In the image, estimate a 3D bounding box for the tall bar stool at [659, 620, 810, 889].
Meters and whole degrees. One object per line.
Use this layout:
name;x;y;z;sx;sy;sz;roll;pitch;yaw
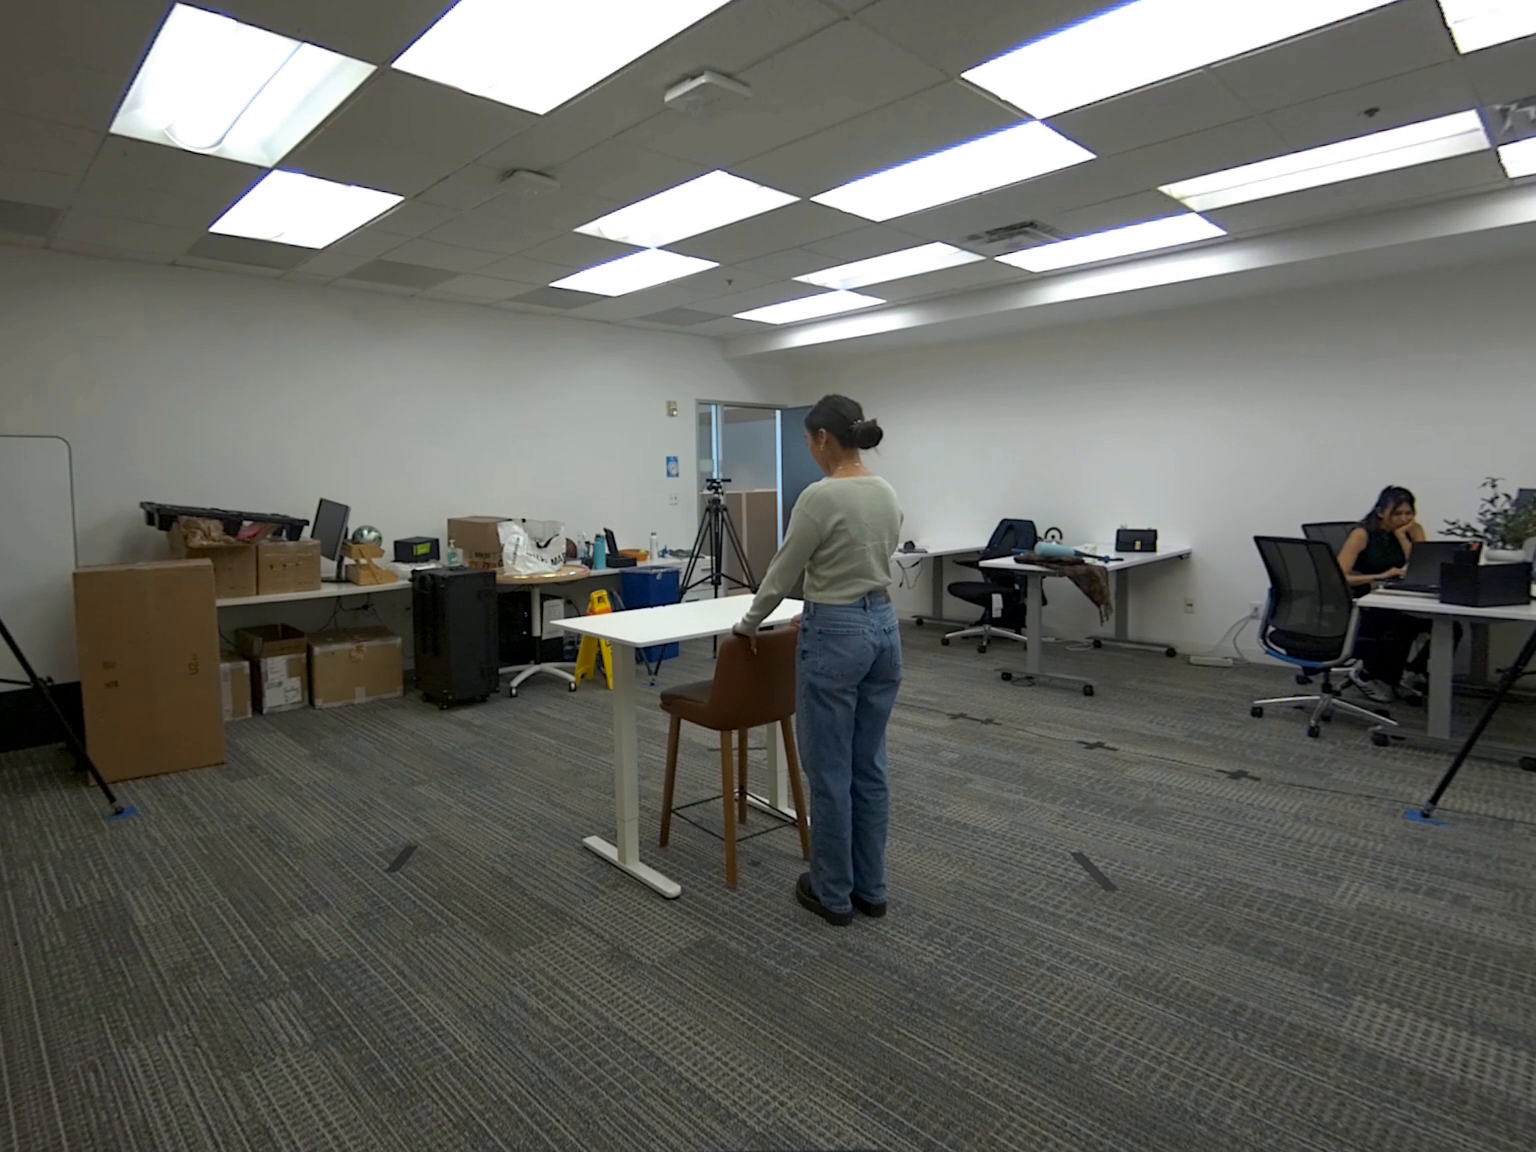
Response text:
tall bar stool;-0.117;0.605;3.161;0.445;0.885;0.482;-3;7;-36
